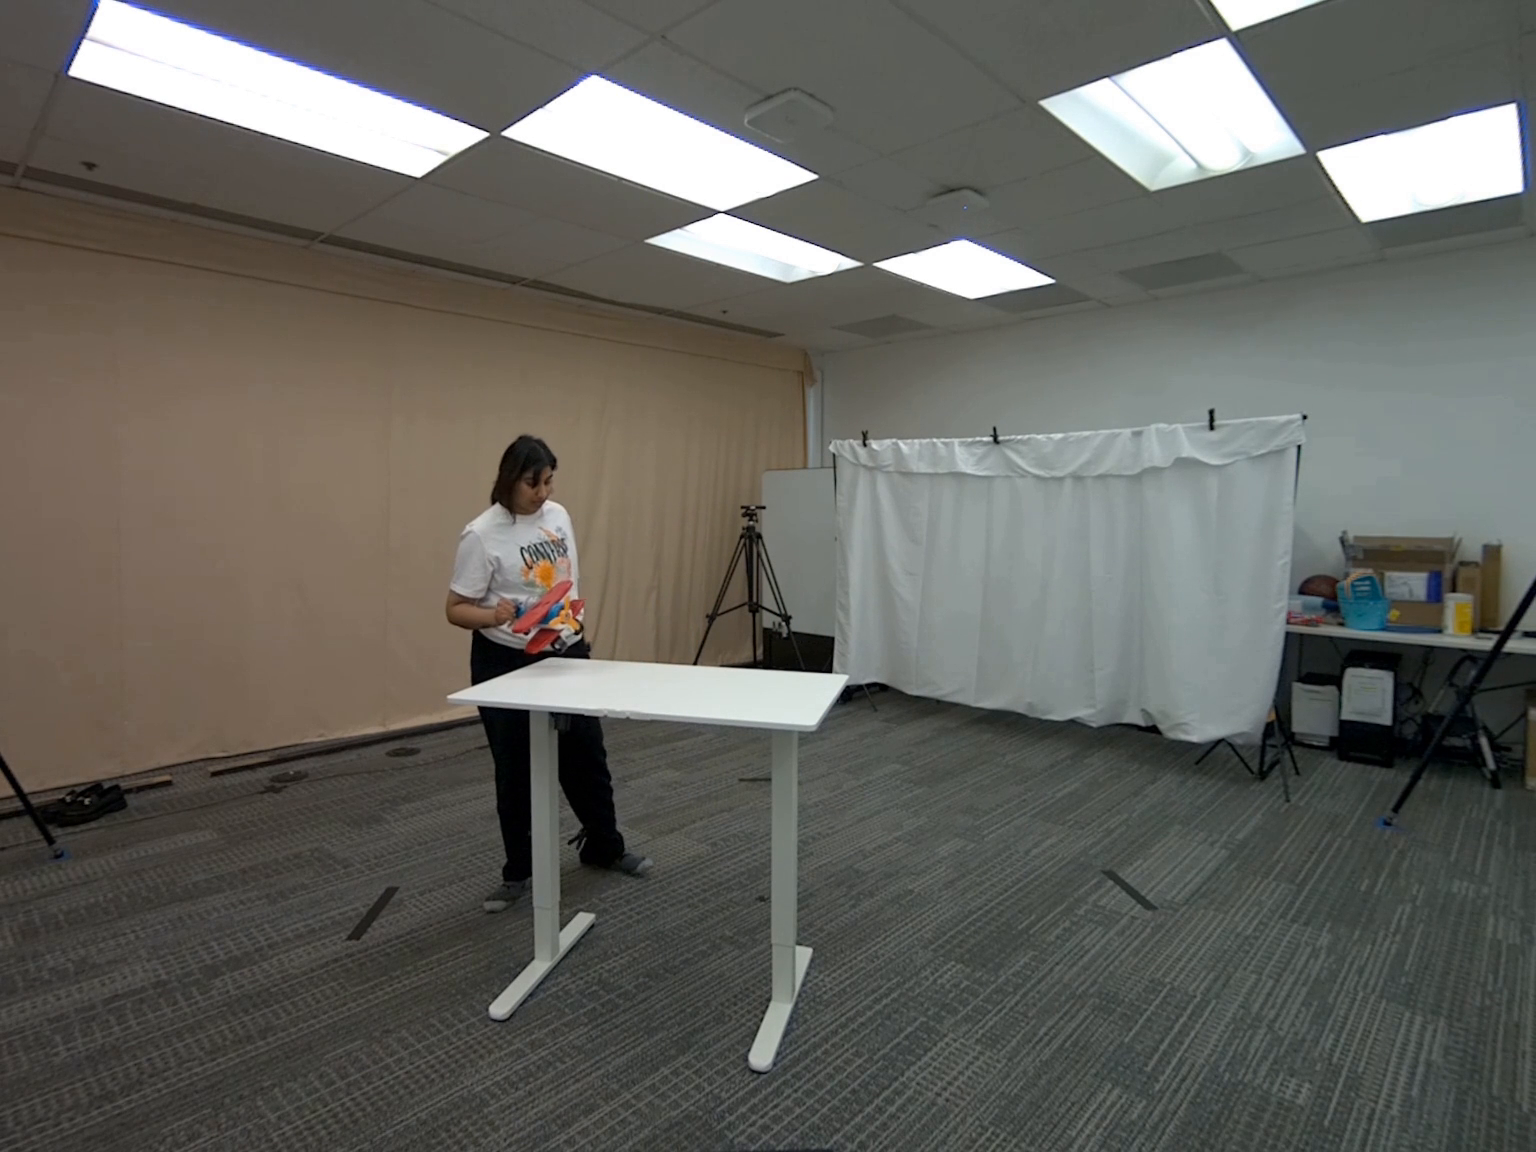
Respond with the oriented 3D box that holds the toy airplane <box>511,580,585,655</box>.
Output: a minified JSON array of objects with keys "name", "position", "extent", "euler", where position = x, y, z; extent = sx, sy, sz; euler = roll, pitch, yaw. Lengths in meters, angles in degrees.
[{"name":"toy airplane","position":[-0.722,0.147,2.670],"extent":[0.262,0.152,0.255],"euler":[-8,37,9]}]
